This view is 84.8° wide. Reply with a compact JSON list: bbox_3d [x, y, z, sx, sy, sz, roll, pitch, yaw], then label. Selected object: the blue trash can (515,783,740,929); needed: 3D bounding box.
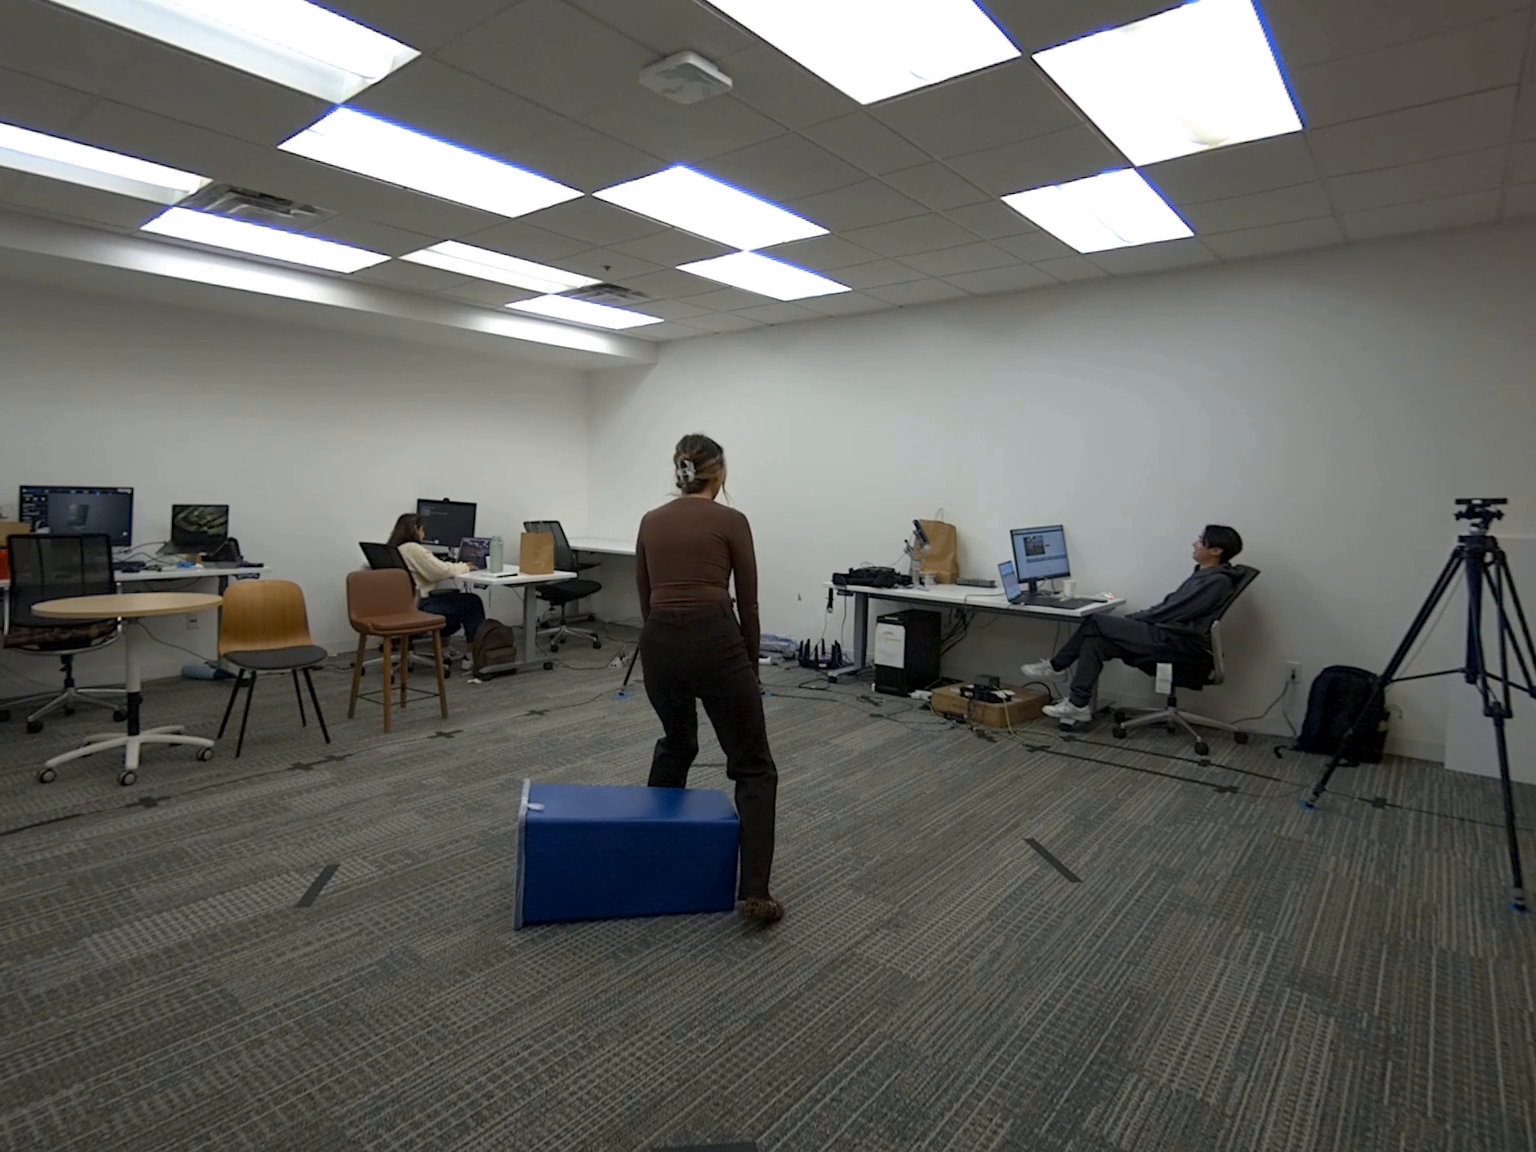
[{"bbox_3d":[-0.498,0.920,2.880,0.704,0.377,0.380,3,3,-12],"label":"blue trash can"}]
